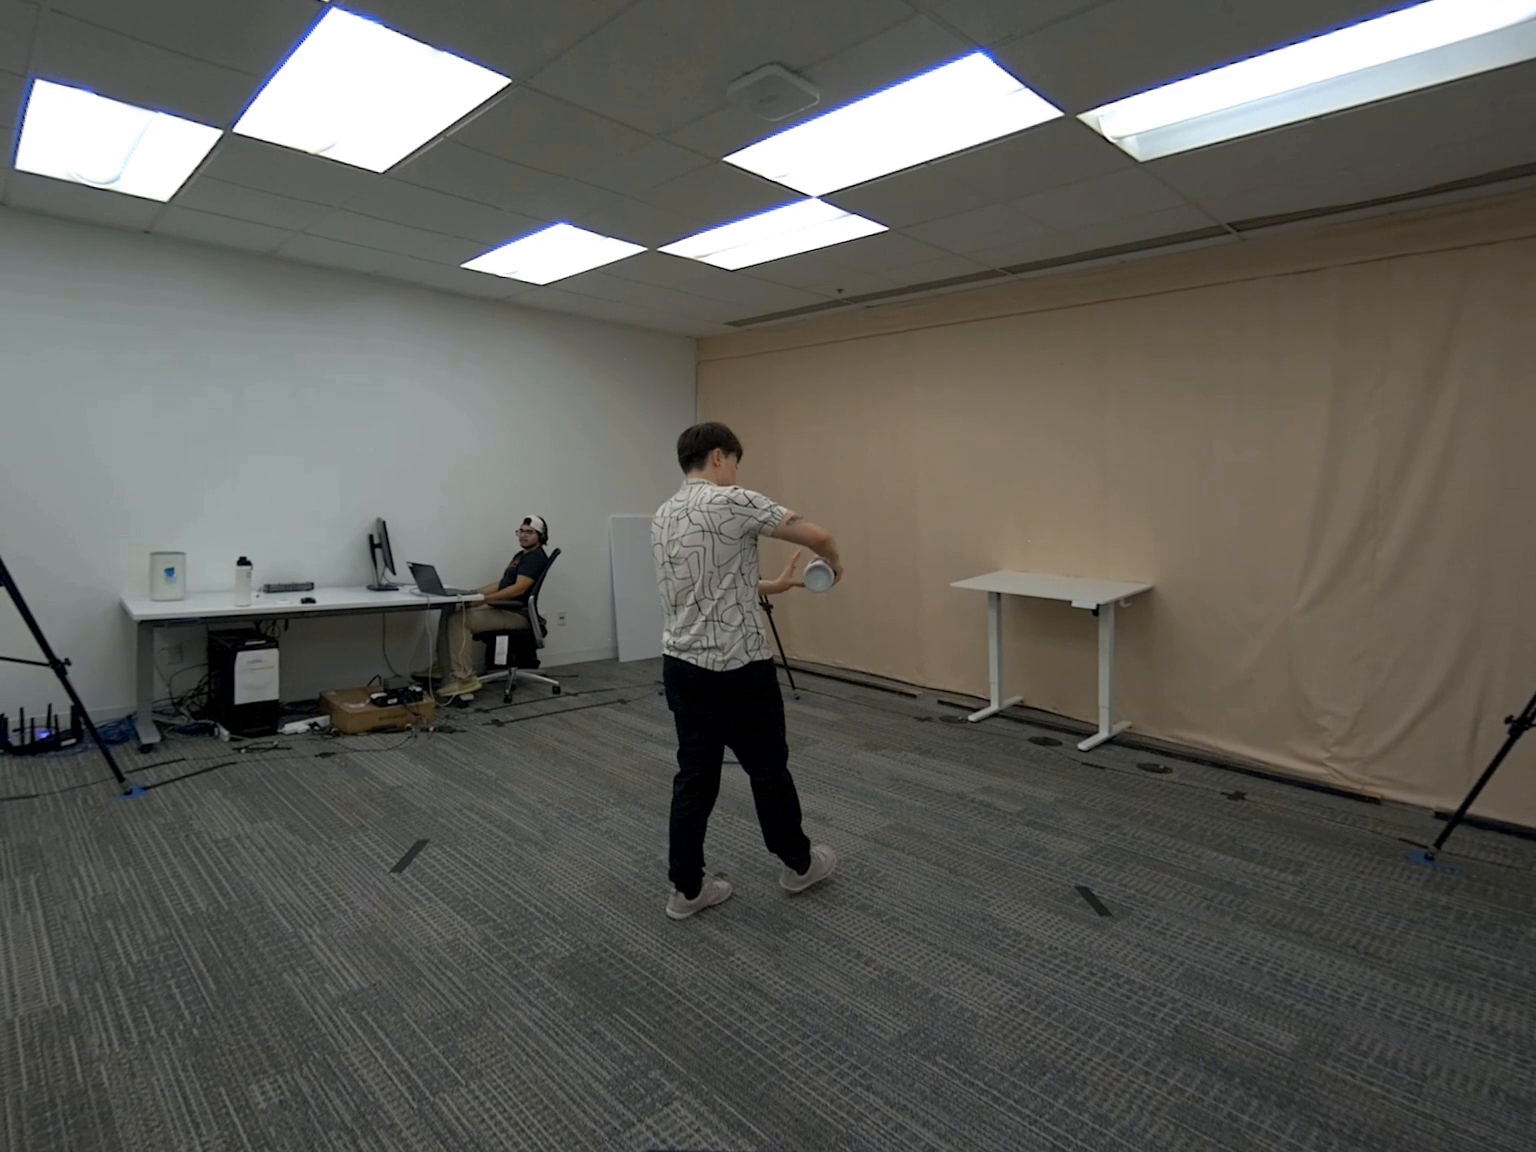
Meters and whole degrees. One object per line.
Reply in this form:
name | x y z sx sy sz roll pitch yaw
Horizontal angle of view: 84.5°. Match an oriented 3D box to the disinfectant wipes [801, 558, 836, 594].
disinfectant wipes | 0.152 -0.013 3.054 0.118 0.117 0.218 2 9 3
